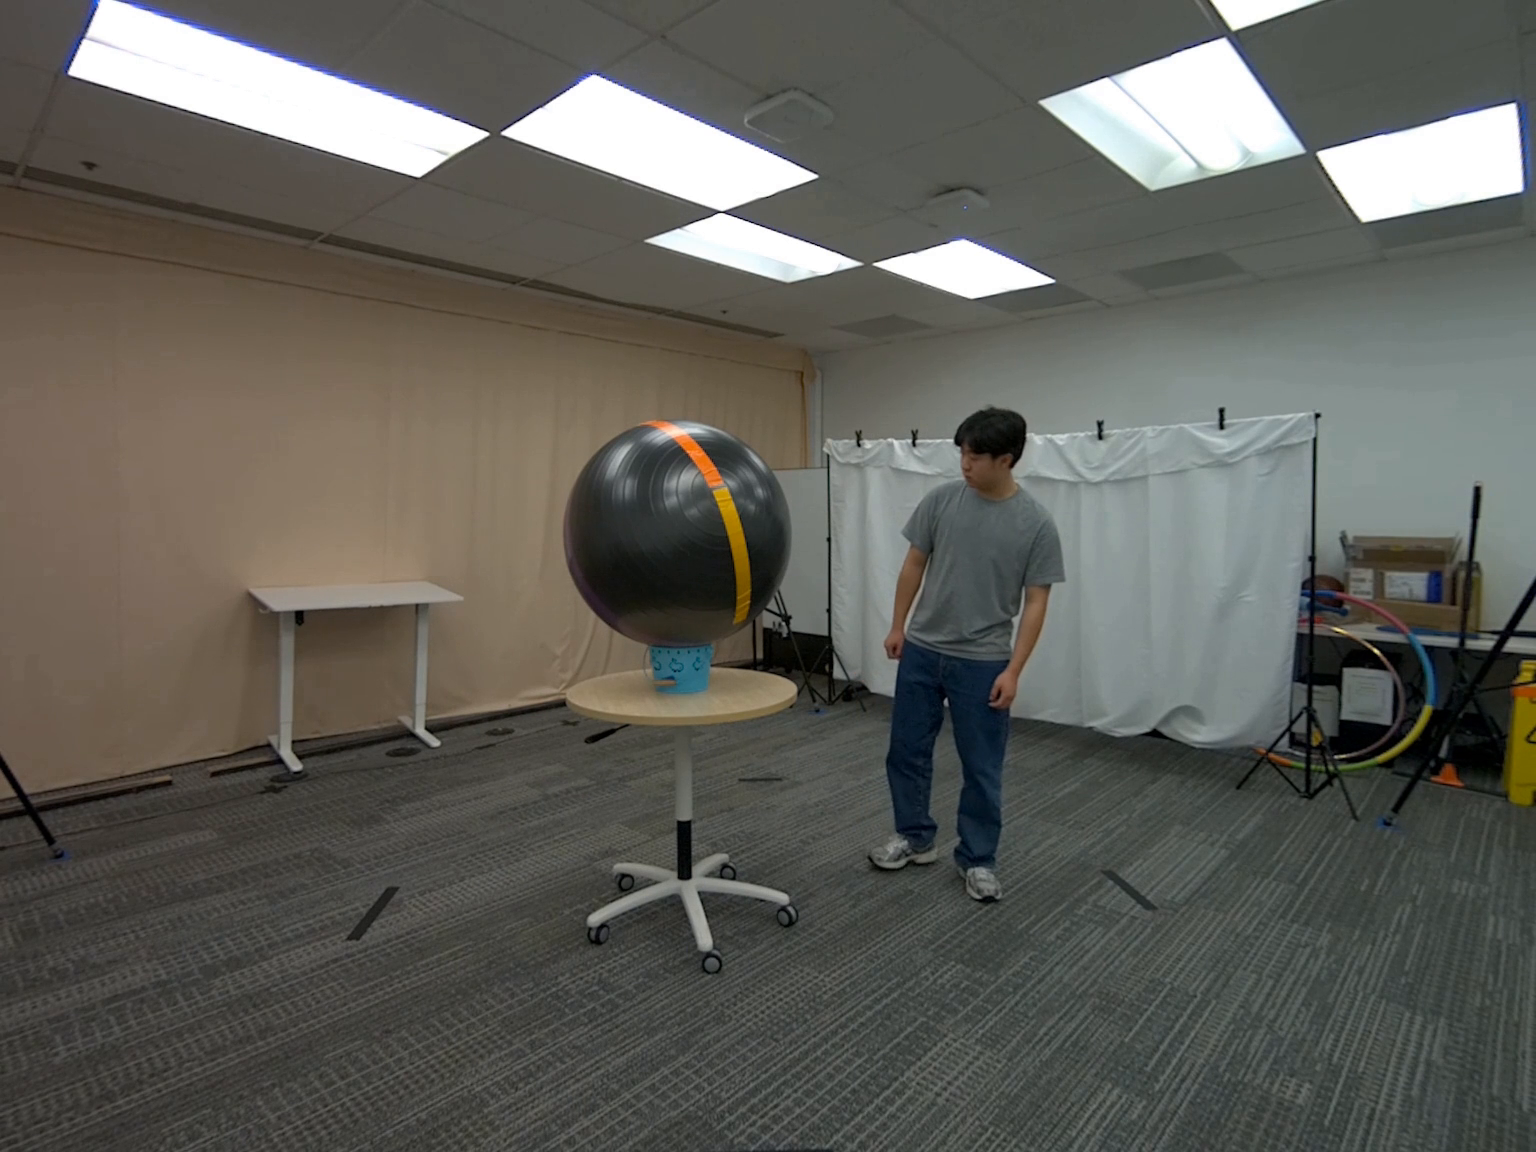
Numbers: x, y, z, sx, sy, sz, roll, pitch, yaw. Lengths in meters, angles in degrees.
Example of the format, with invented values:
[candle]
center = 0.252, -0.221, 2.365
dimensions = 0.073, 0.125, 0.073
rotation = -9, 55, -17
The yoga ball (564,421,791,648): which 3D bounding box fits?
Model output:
[yoga ball]
center = -0.305, -0.134, 2.807
dimensions = 0.757, 0.756, 0.760
rotation = 0, 4, -2
